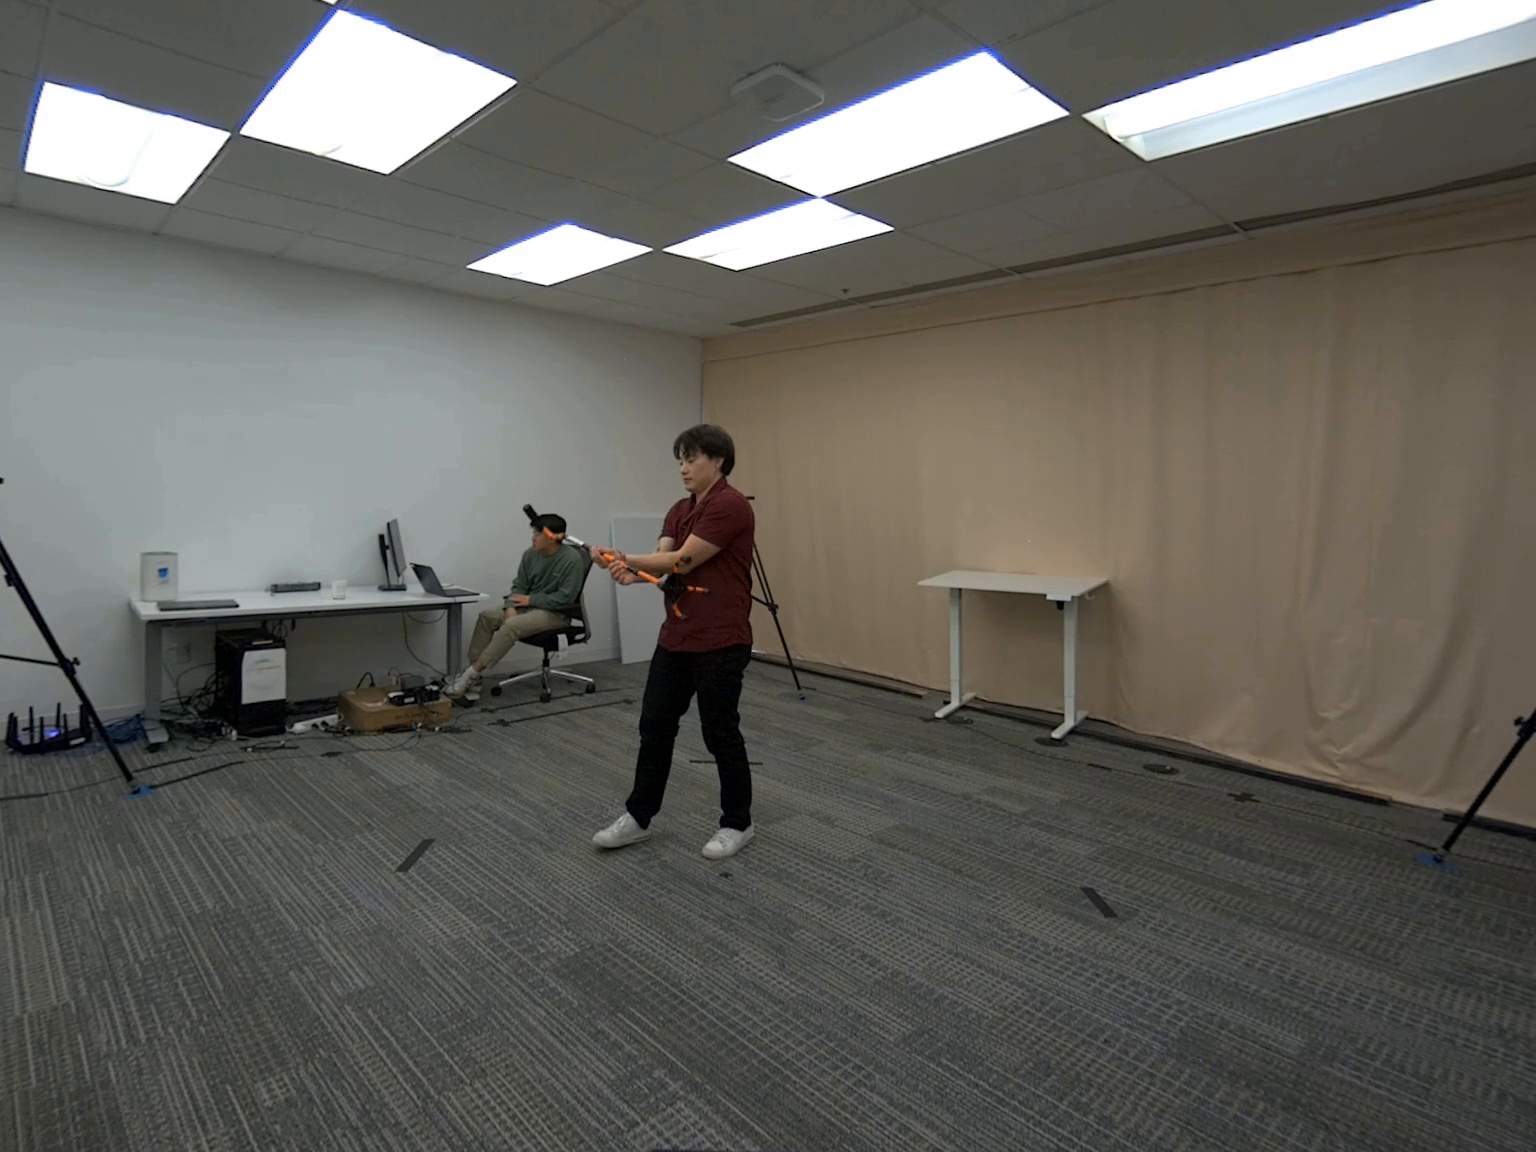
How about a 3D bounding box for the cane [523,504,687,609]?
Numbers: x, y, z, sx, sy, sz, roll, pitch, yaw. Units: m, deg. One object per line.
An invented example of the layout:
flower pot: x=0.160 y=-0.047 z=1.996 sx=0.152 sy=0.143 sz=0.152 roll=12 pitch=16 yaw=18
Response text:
cane: x=-0.613 y=-0.087 z=3.089 sx=0.935 sy=0.200 sz=0.151 roll=22 pitch=61 yaw=41
